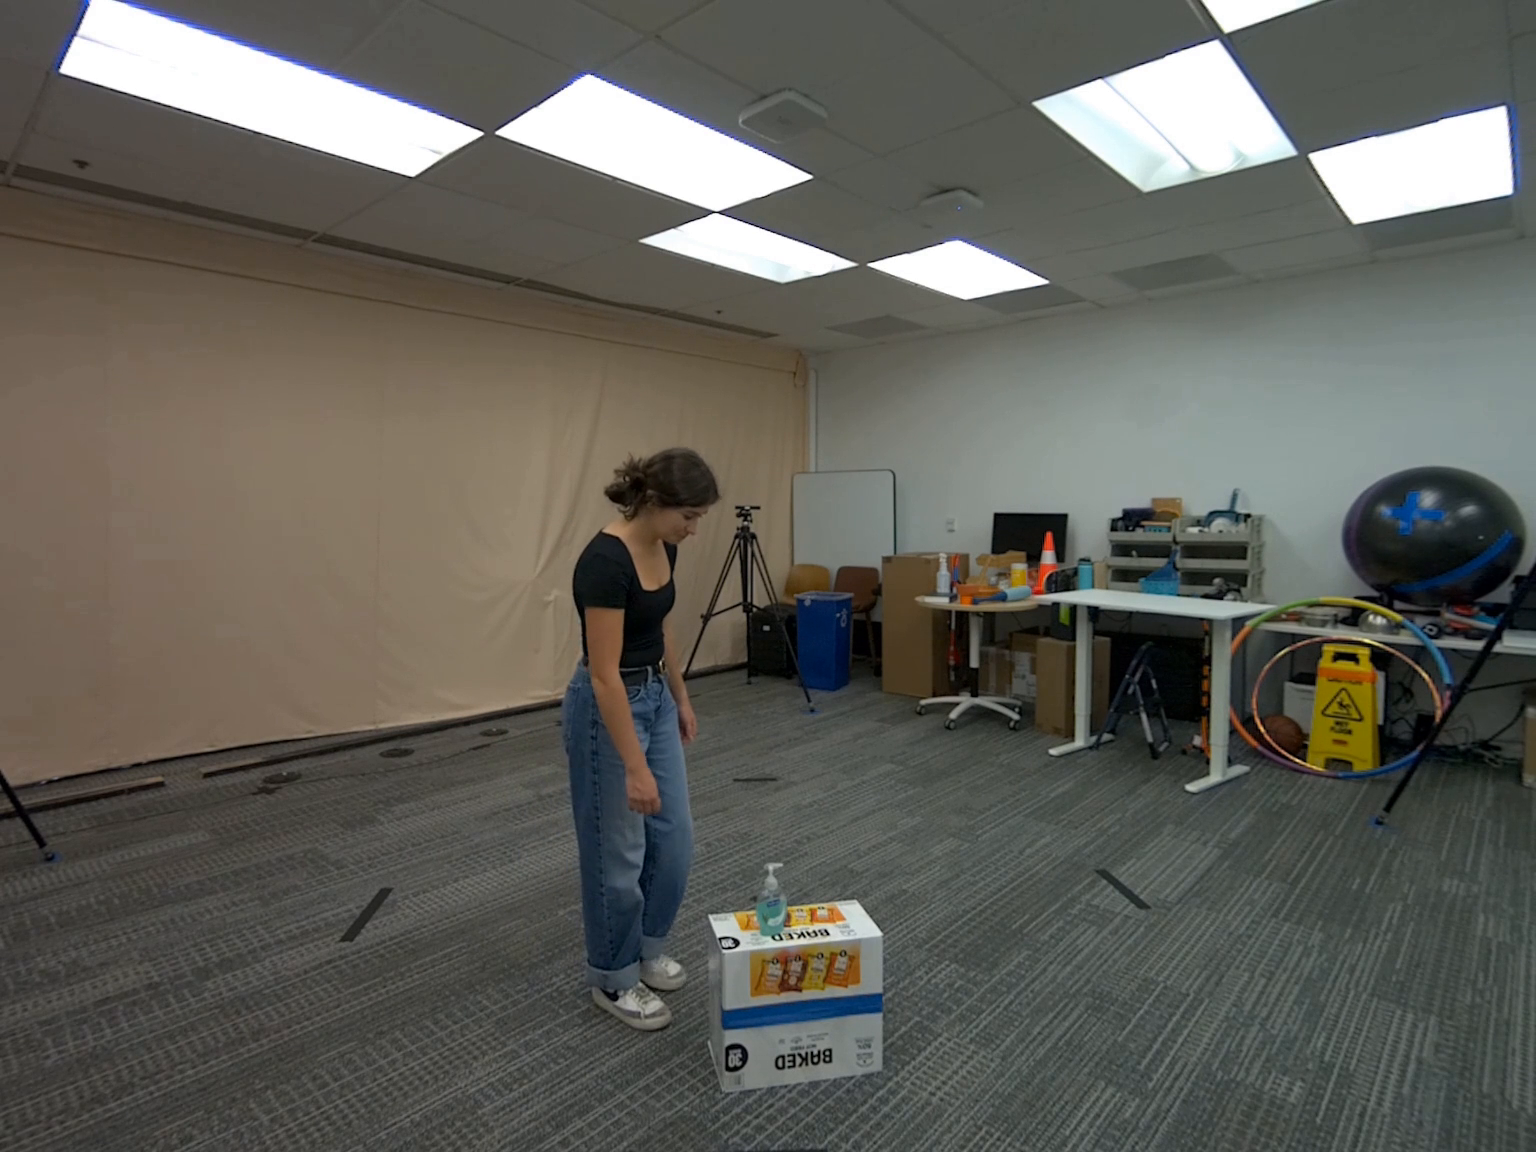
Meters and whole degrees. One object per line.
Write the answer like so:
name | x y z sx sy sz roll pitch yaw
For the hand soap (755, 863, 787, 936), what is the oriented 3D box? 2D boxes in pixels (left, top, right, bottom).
hand soap | 0.011 0.802 2.074 0.083 0.168 0.044 2 1 -16
